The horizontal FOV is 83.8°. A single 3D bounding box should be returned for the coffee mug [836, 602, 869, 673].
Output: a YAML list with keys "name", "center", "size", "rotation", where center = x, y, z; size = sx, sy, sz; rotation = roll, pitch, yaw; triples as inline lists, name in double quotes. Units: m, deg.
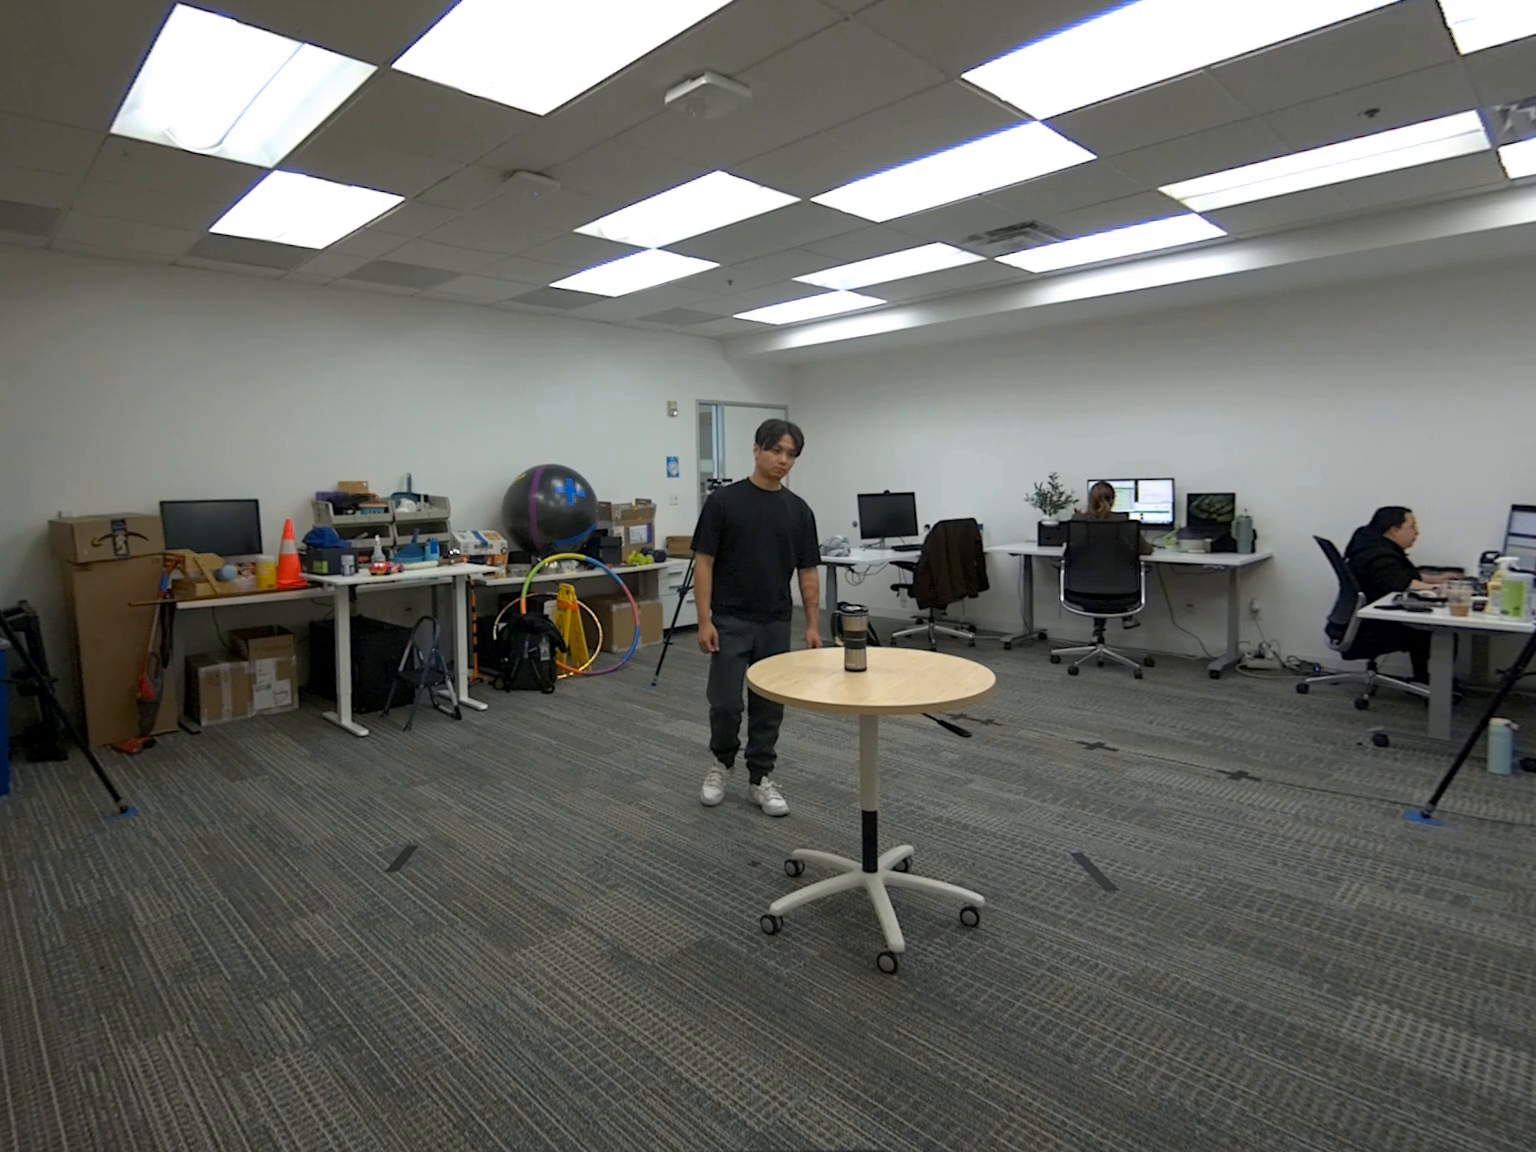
- name: "coffee mug"
  center: [0.268, 0.201, 2.736]
  size: [0.086, 0.201, 0.126]
  rotation: [-8, 10, -32]
